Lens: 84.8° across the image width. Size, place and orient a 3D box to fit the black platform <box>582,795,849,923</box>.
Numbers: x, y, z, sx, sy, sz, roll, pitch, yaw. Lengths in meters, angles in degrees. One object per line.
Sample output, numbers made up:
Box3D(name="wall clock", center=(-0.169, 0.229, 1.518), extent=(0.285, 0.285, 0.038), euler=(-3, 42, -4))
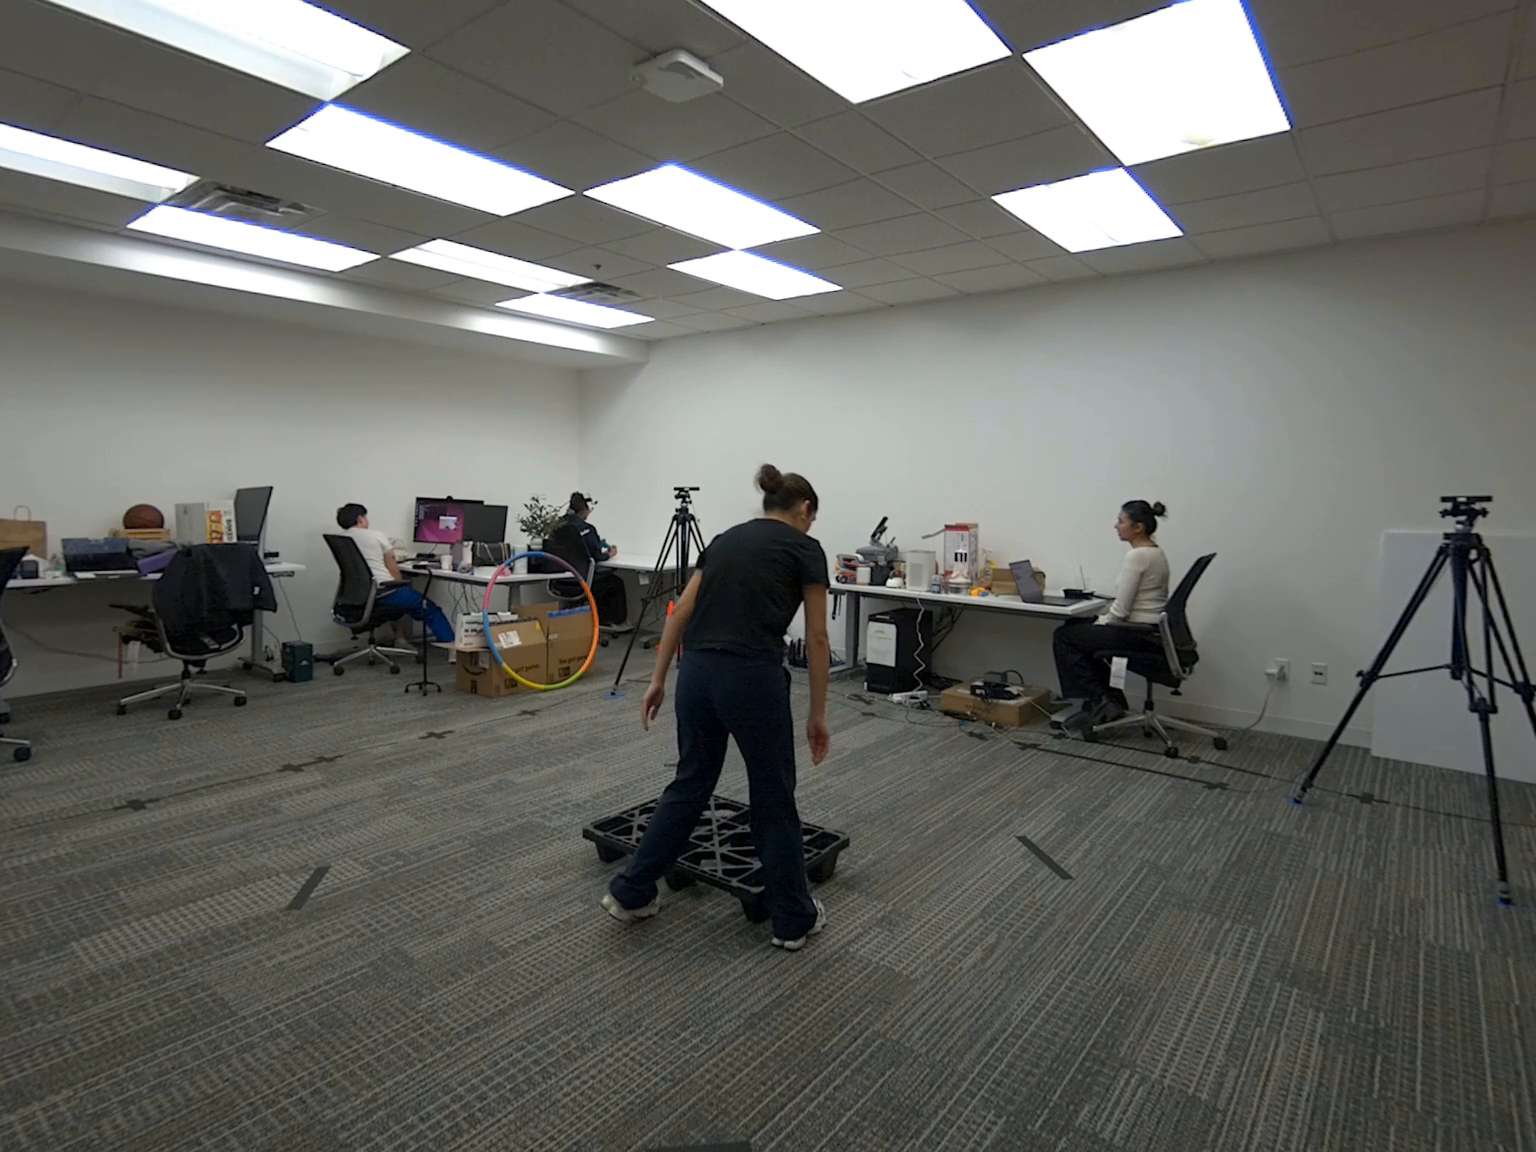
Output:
Box3D(name="black platform", center=(-0.181, 0.998, 3.141), extent=(0.832, 0.143, 0.587), euler=(6, 7, 37))
